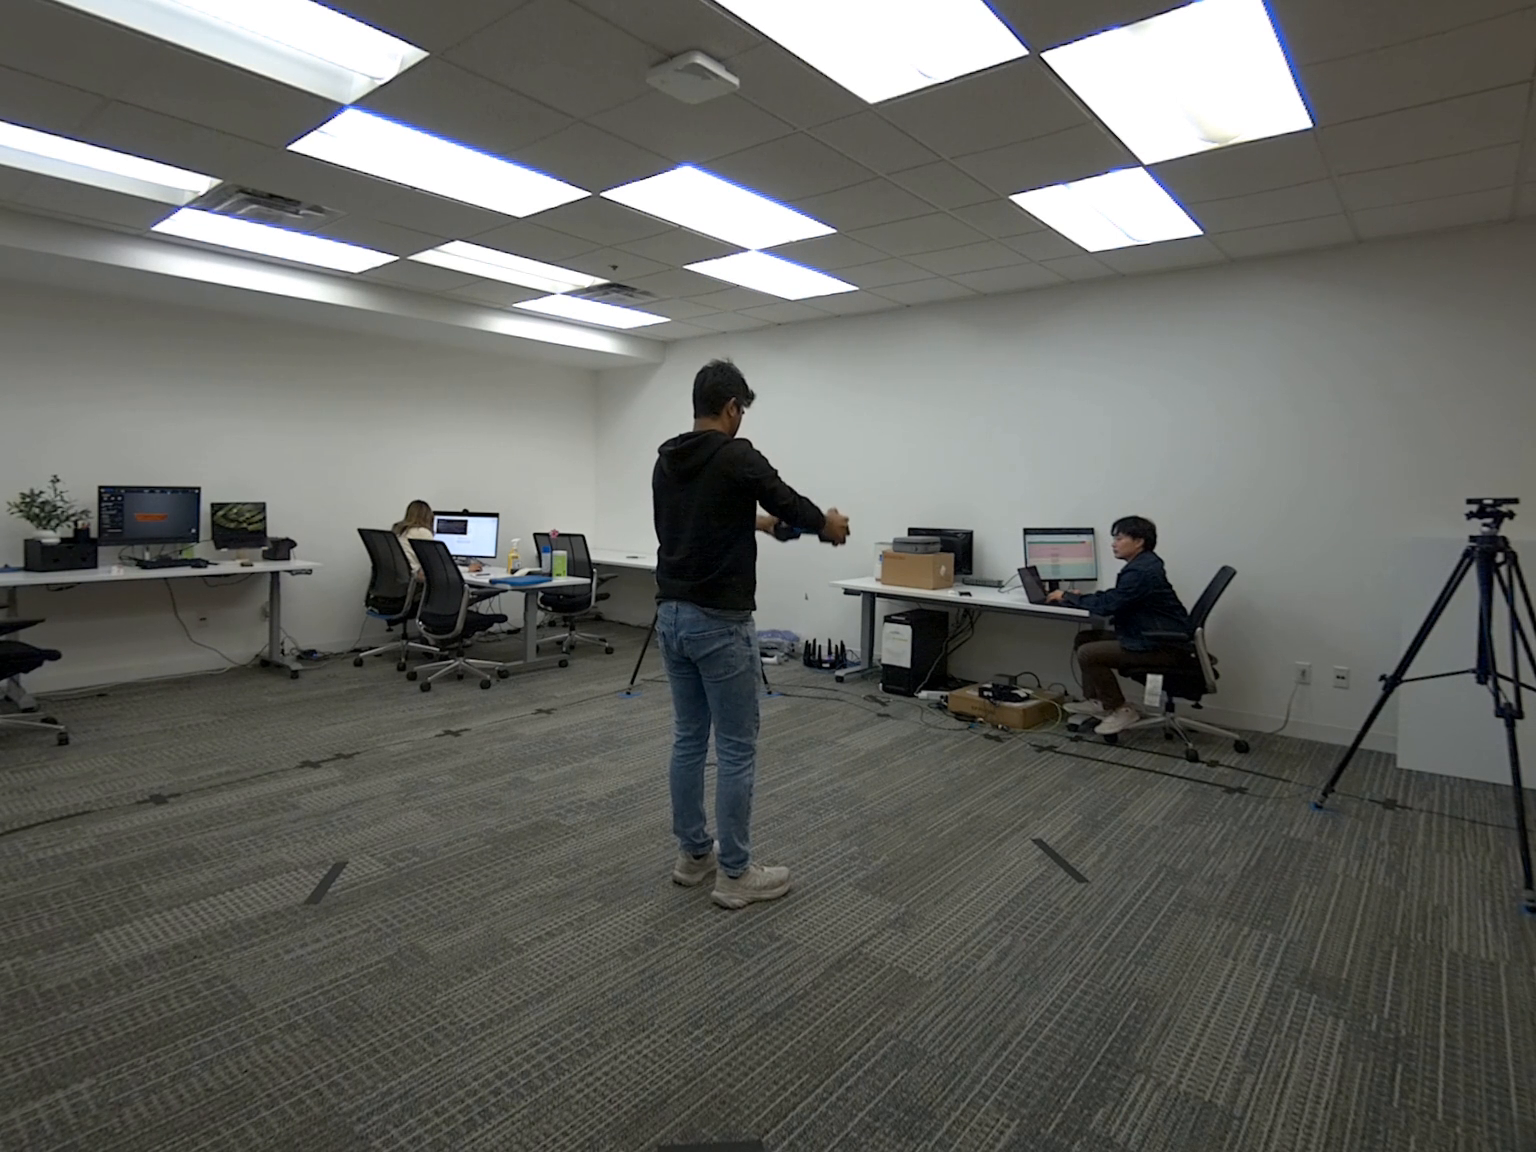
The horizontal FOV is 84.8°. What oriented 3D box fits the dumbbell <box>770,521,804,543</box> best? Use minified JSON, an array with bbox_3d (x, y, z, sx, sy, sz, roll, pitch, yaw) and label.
[{"bbox_3d":[0.145,-0.188,3.316,0.304,0.123,0.104,7,-37,41],"label":"dumbbell"}]
